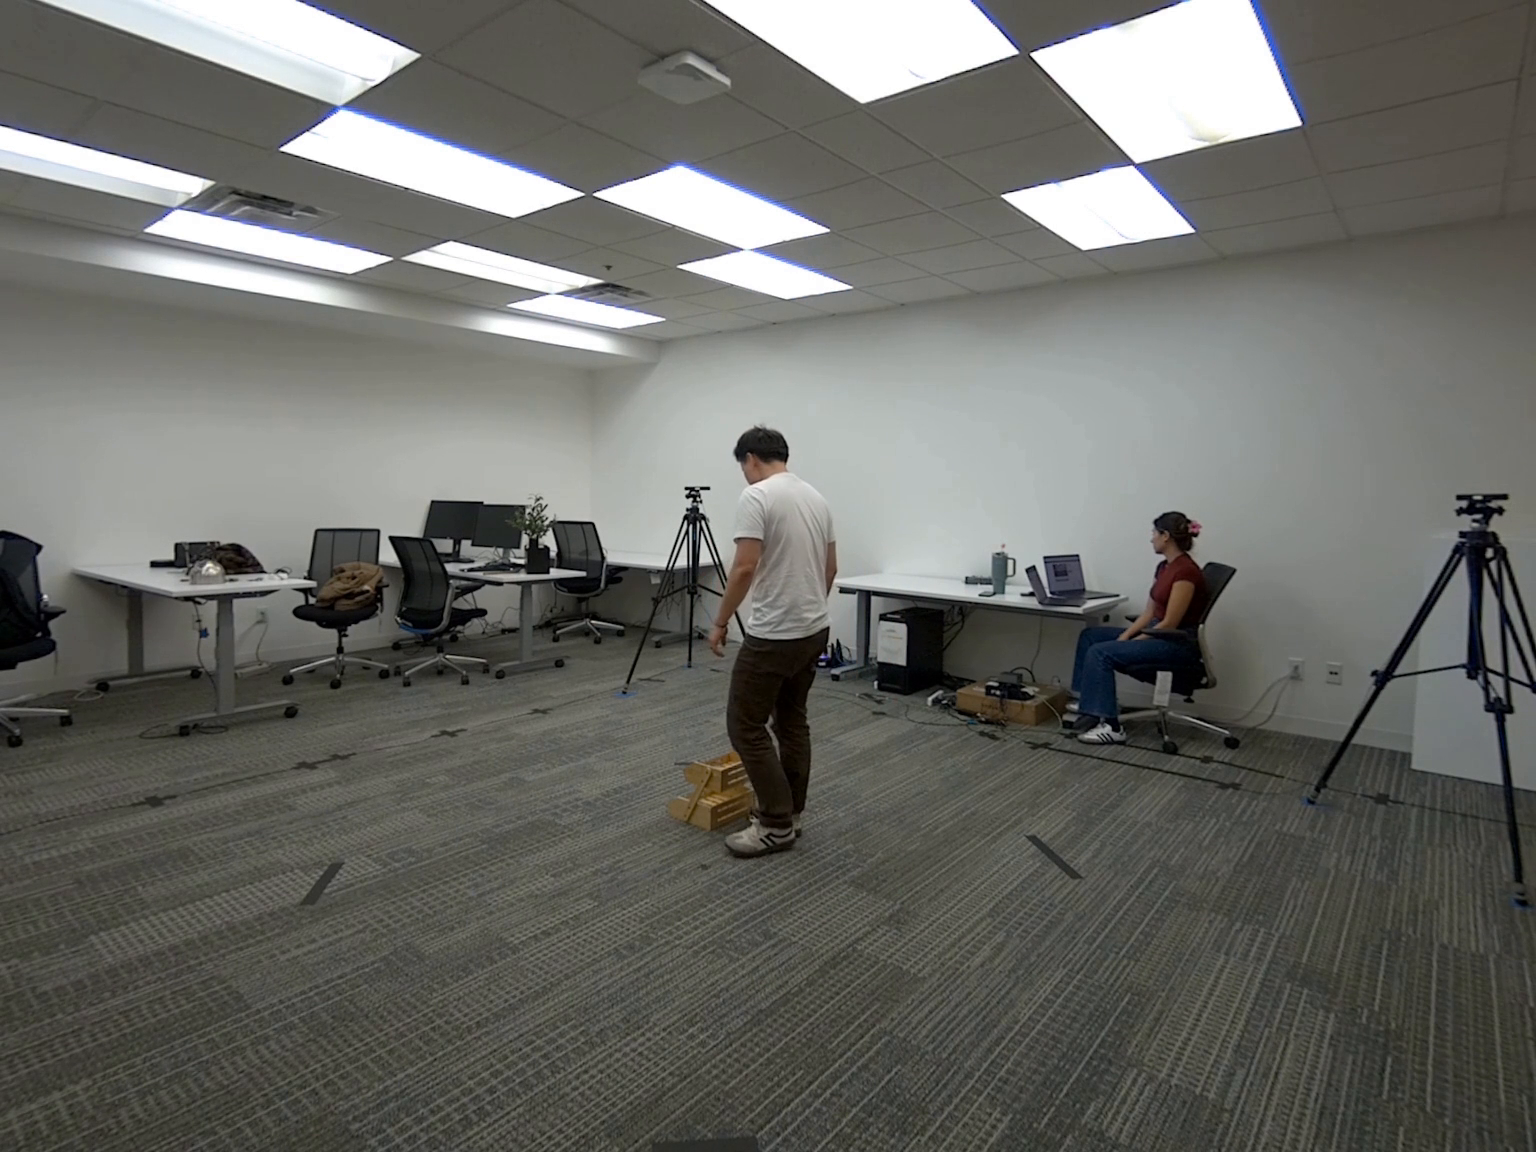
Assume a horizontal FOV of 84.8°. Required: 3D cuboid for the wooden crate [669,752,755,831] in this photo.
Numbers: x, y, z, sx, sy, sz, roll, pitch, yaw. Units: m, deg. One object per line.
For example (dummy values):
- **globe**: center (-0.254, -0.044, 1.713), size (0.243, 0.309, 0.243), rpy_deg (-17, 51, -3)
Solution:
- **wooden crate**: center (-0.234, 0.880, 3.628), size (0.312, 0.272, 0.315), rpy_deg (5, 6, 38)
